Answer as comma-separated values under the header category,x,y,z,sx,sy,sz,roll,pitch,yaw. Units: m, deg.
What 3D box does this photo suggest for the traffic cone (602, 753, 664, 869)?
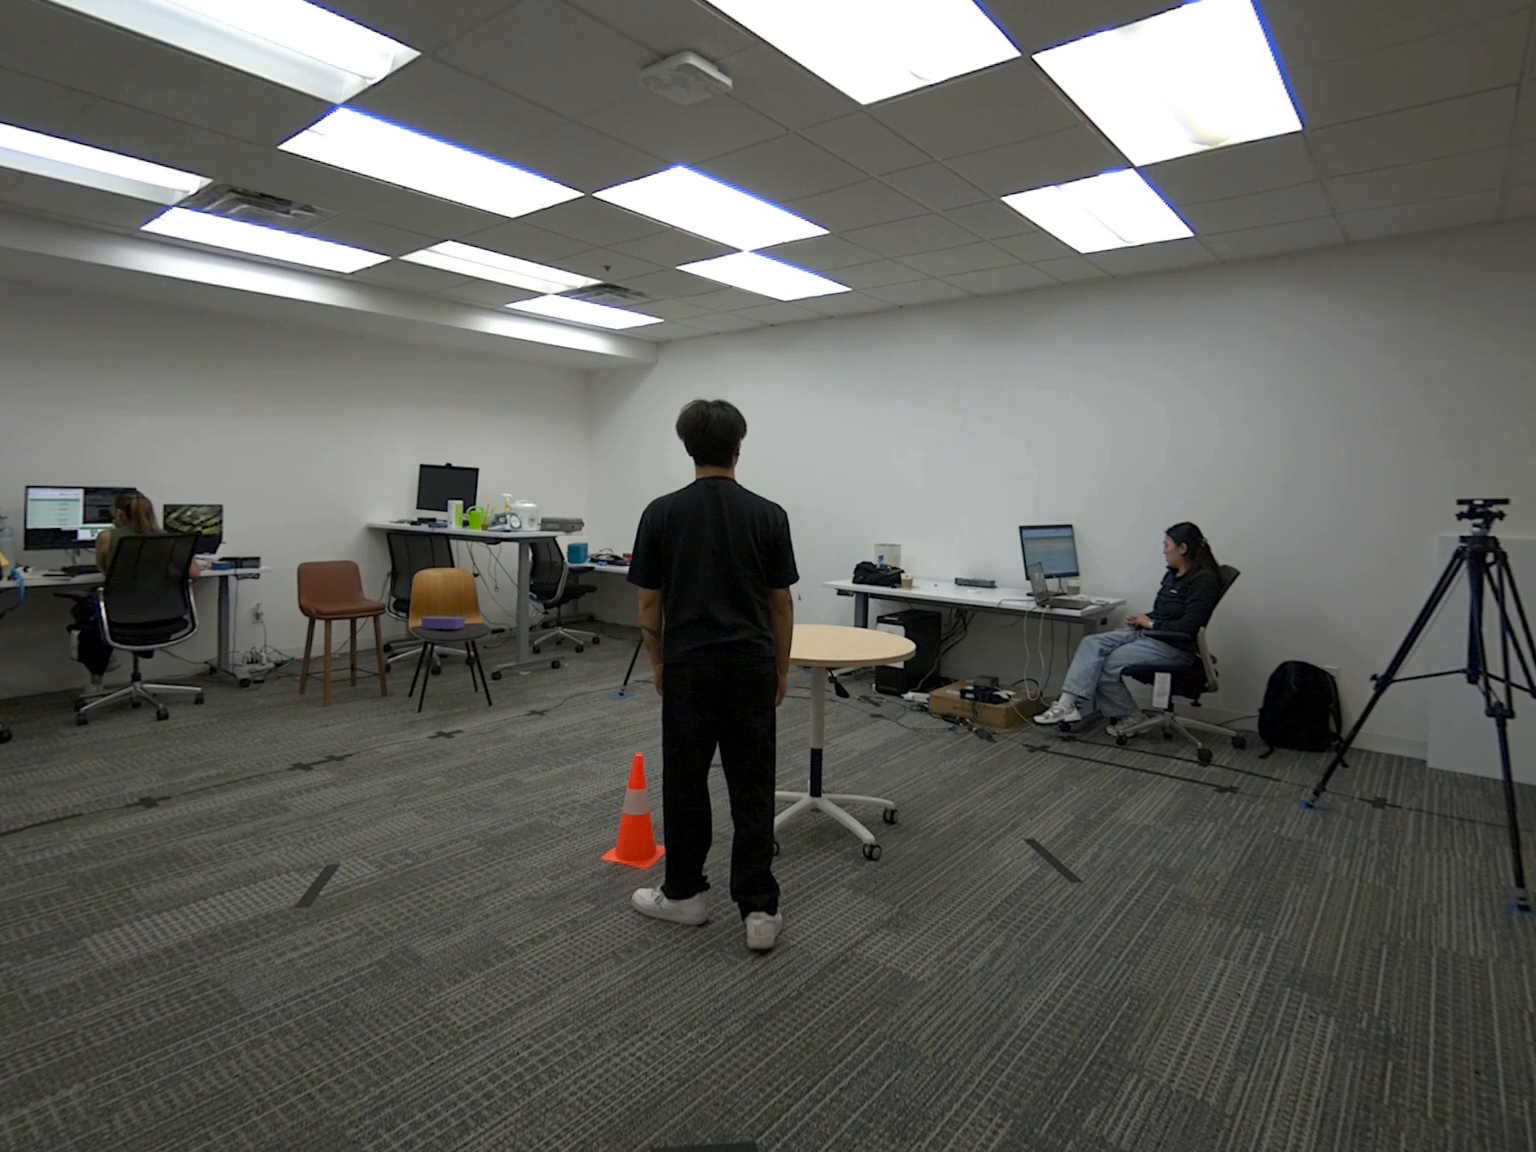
category,x,y,z,sx,sy,sz,roll,pitch,yaw
traffic cone,-0.506,0.871,3.220,0.210,0.382,0.199,4,5,23
